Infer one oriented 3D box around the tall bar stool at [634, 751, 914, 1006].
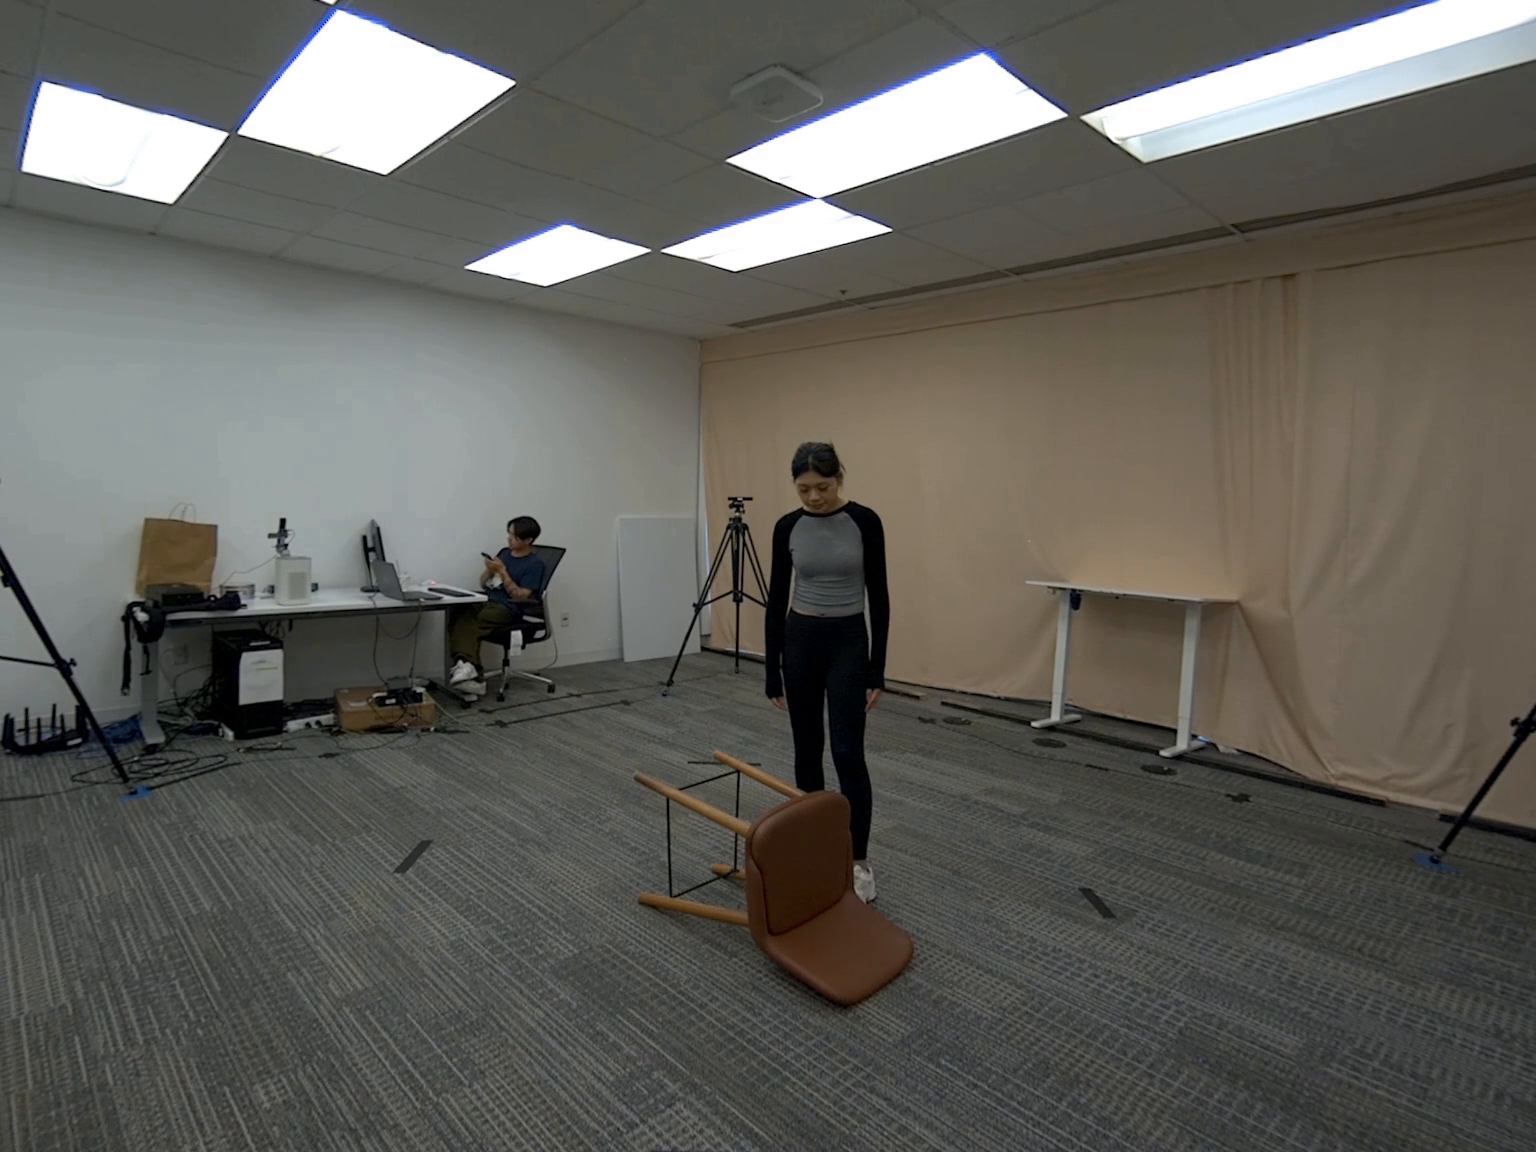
[{"bbox_3d":[-0.007,0.918,2.700,0.913,0.466,0.446,6,6,44],"label":"tall bar stool"}]
